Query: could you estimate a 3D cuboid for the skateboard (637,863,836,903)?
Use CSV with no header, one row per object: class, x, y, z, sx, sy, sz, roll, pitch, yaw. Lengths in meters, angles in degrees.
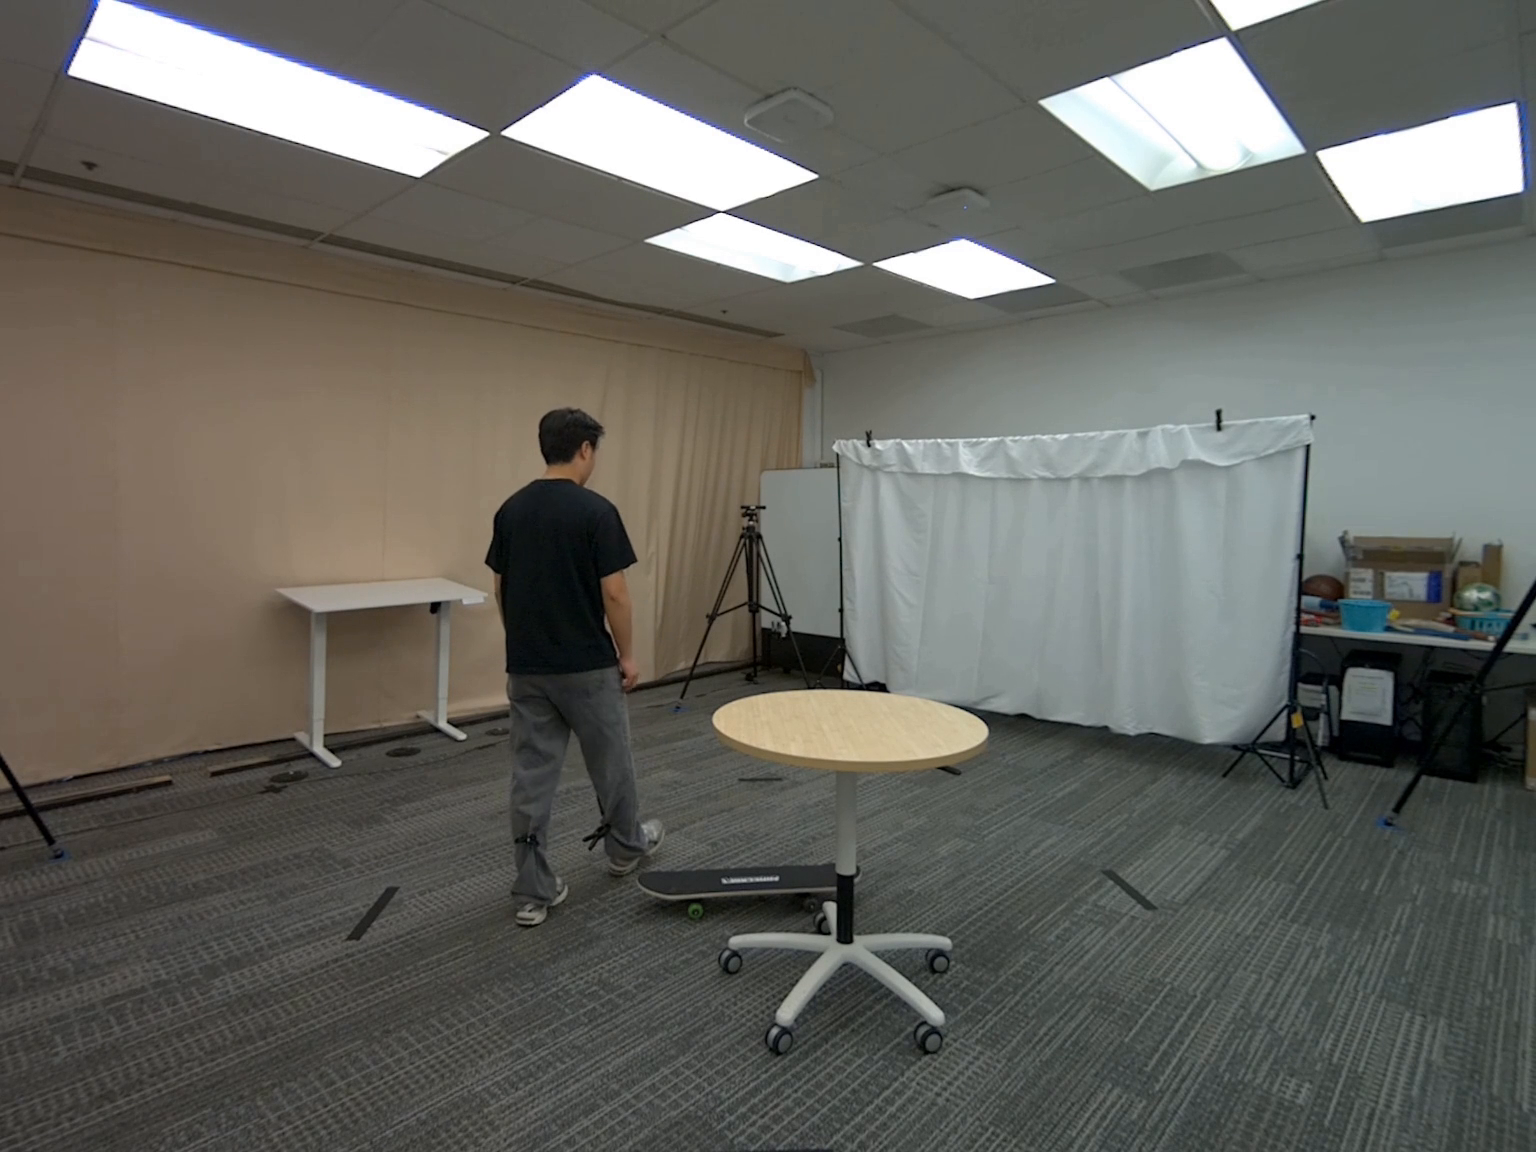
skateboard,-0.060,1.094,2.934,0.779,0.110,0.195,0,5,-7
